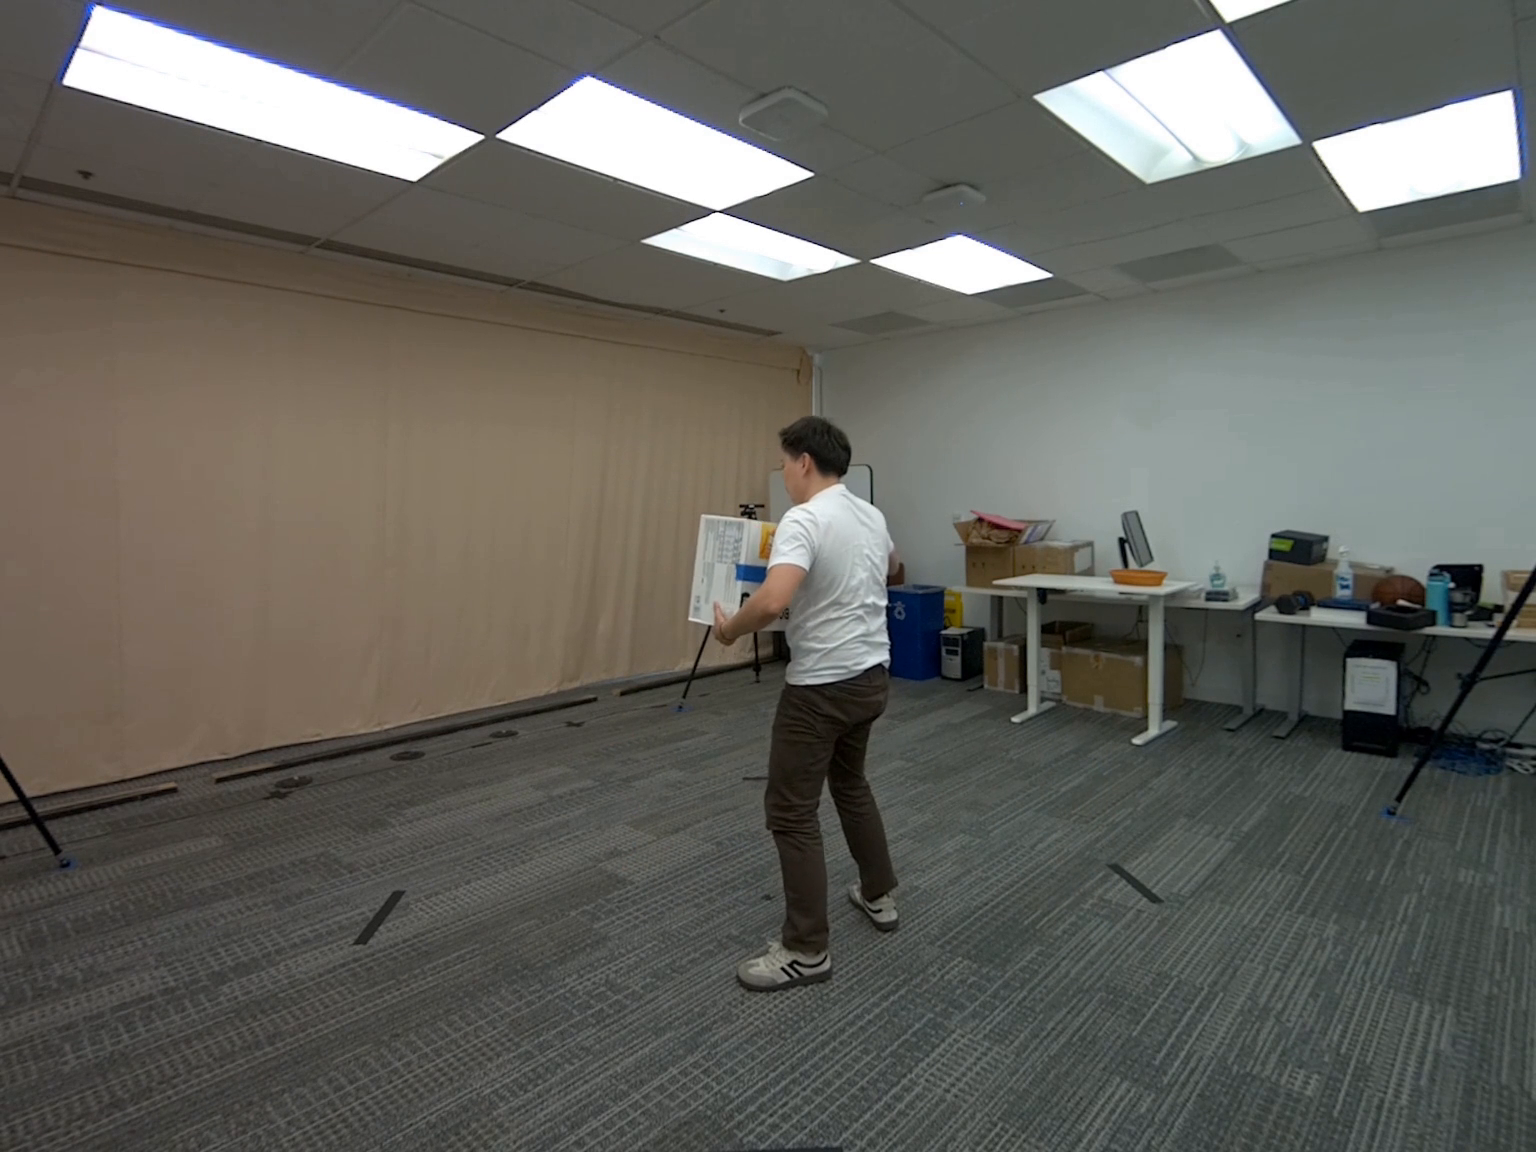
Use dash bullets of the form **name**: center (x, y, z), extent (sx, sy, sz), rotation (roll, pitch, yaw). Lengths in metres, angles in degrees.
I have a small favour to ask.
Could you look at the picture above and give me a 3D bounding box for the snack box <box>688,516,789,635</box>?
- **snack box**: center (-0.030, 0.003, 2.760), extent (0.212, 0.340, 0.392), rotation (7, 1, 38)
